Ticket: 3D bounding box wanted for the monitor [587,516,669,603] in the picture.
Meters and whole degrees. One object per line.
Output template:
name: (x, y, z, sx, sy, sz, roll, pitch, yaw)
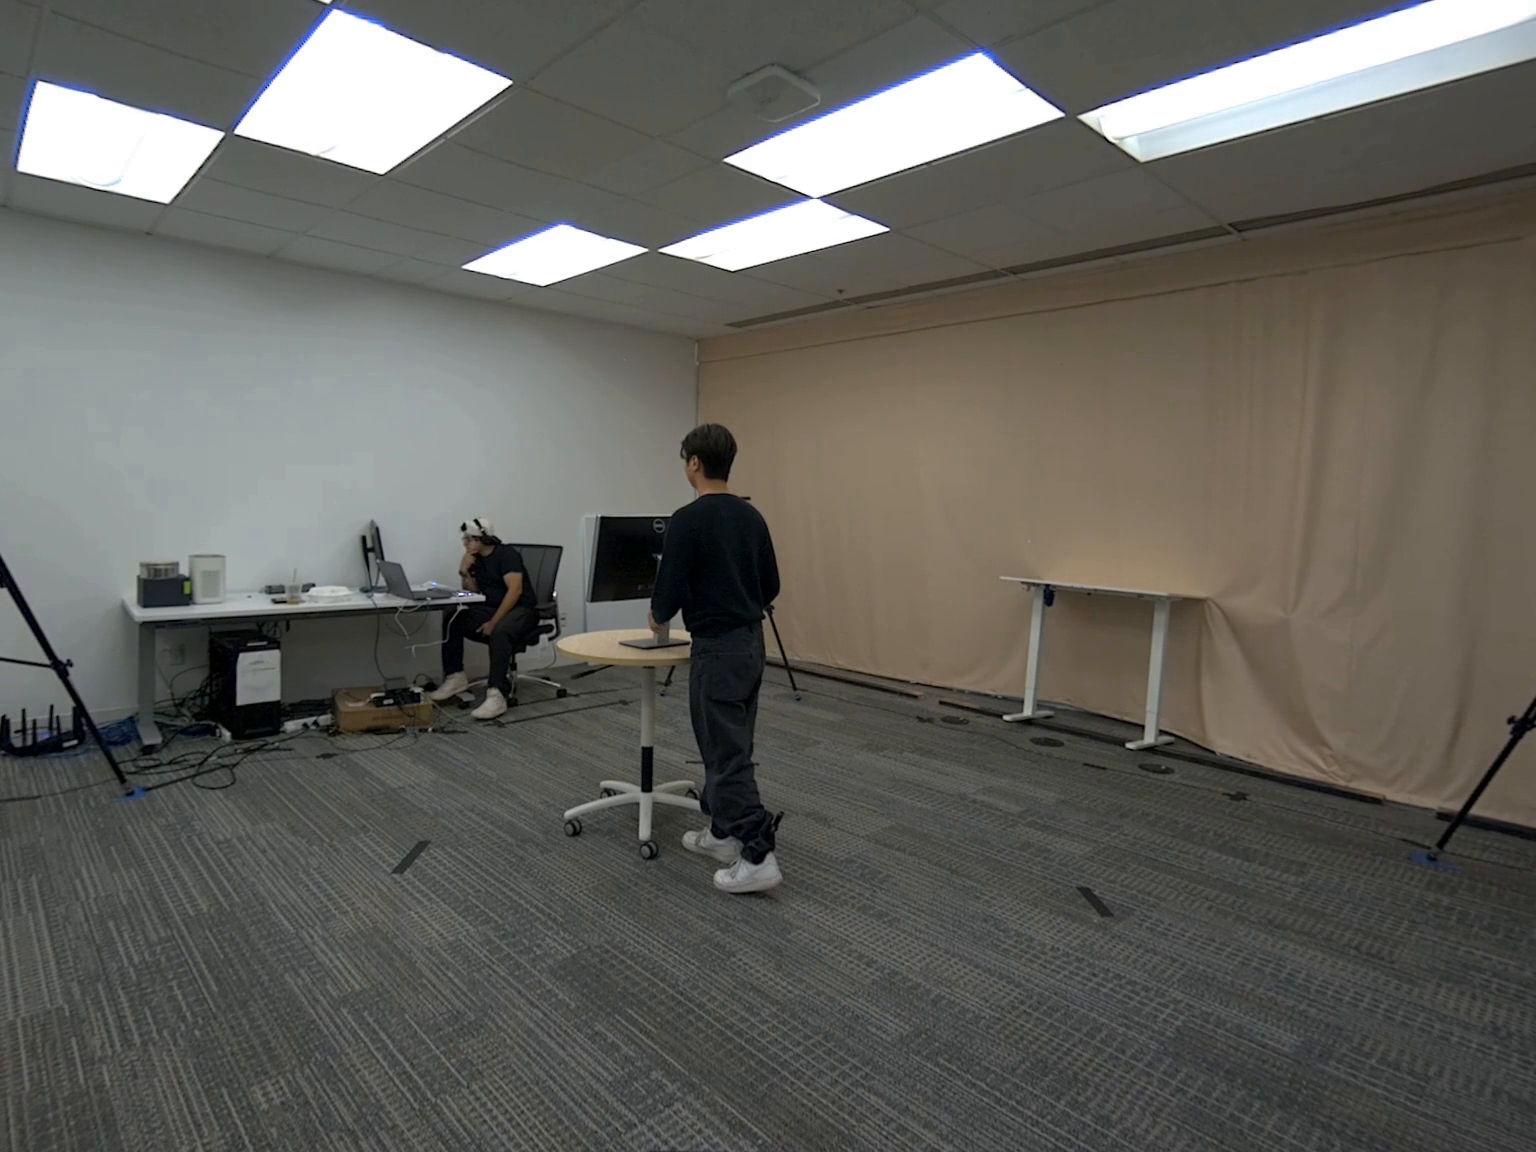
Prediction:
monitor: (-0.476, 0.015, 3.506, 0.518, 0.515, 0.178, -5, 2, -43)
